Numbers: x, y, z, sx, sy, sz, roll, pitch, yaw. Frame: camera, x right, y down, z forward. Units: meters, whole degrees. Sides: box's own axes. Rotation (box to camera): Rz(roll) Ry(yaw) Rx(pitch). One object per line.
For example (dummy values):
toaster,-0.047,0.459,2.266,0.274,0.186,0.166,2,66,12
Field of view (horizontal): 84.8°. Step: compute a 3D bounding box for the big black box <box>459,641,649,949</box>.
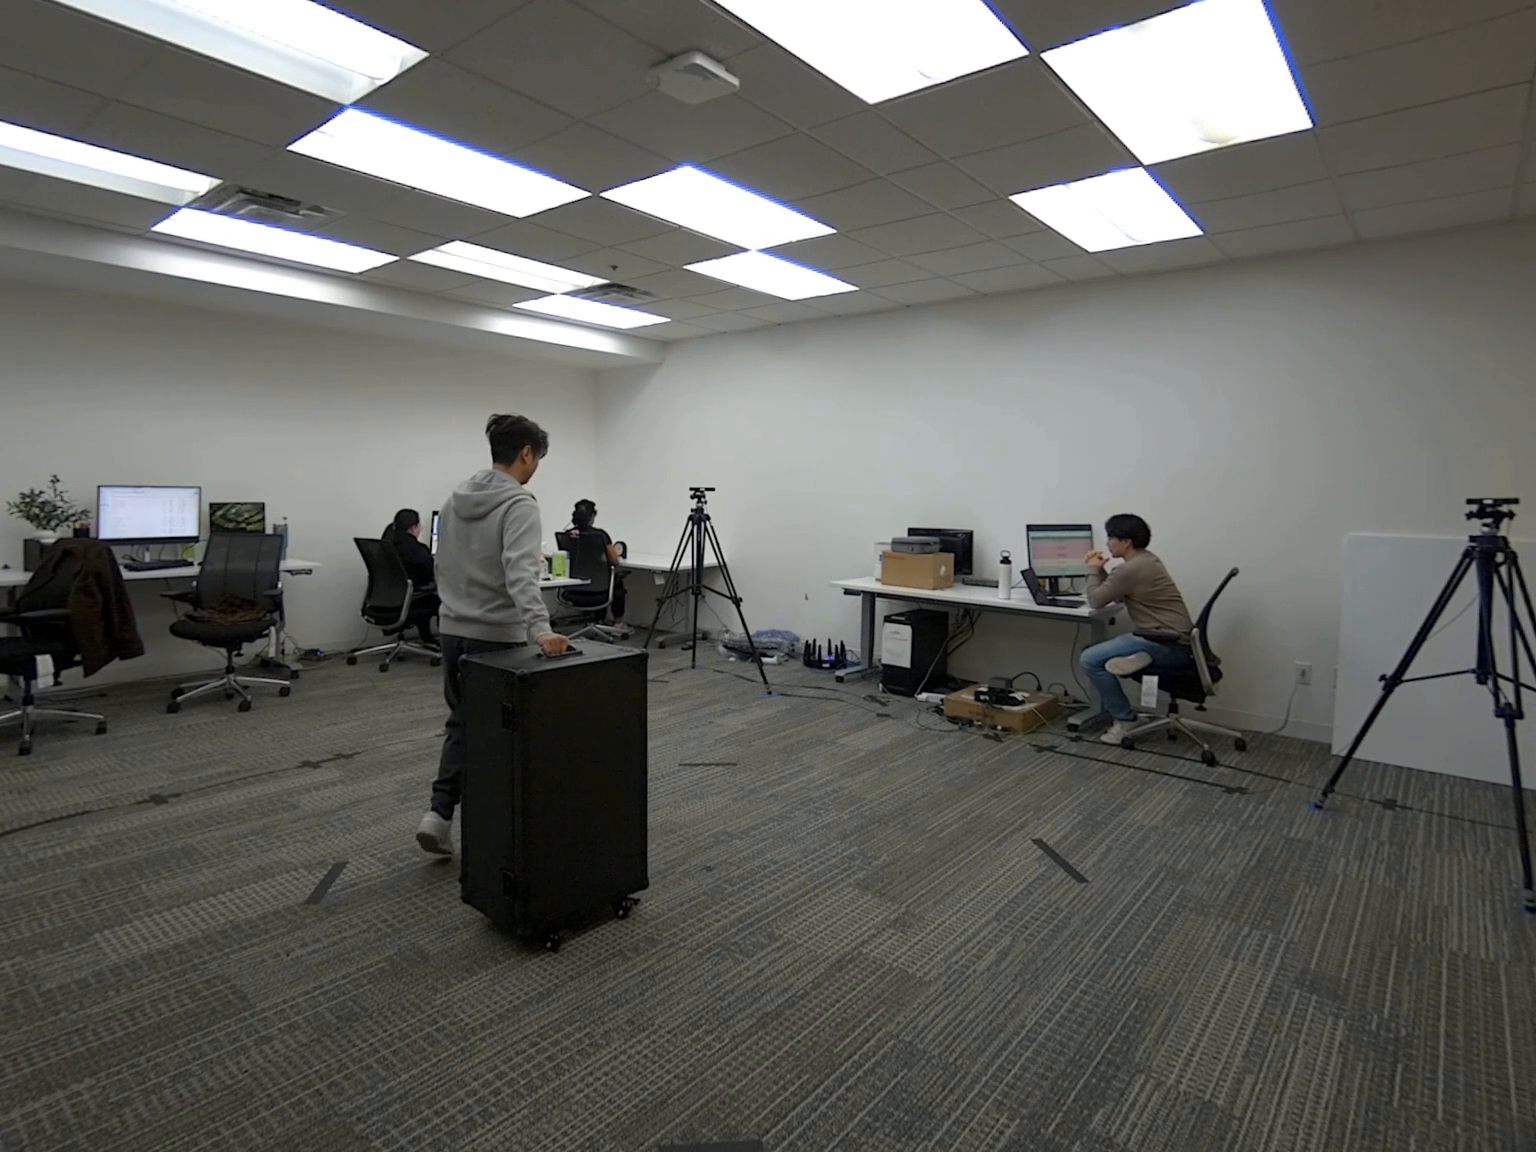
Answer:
big black box,-0.704,0.672,2.731,0.409,0.860,0.505,1,3,43
